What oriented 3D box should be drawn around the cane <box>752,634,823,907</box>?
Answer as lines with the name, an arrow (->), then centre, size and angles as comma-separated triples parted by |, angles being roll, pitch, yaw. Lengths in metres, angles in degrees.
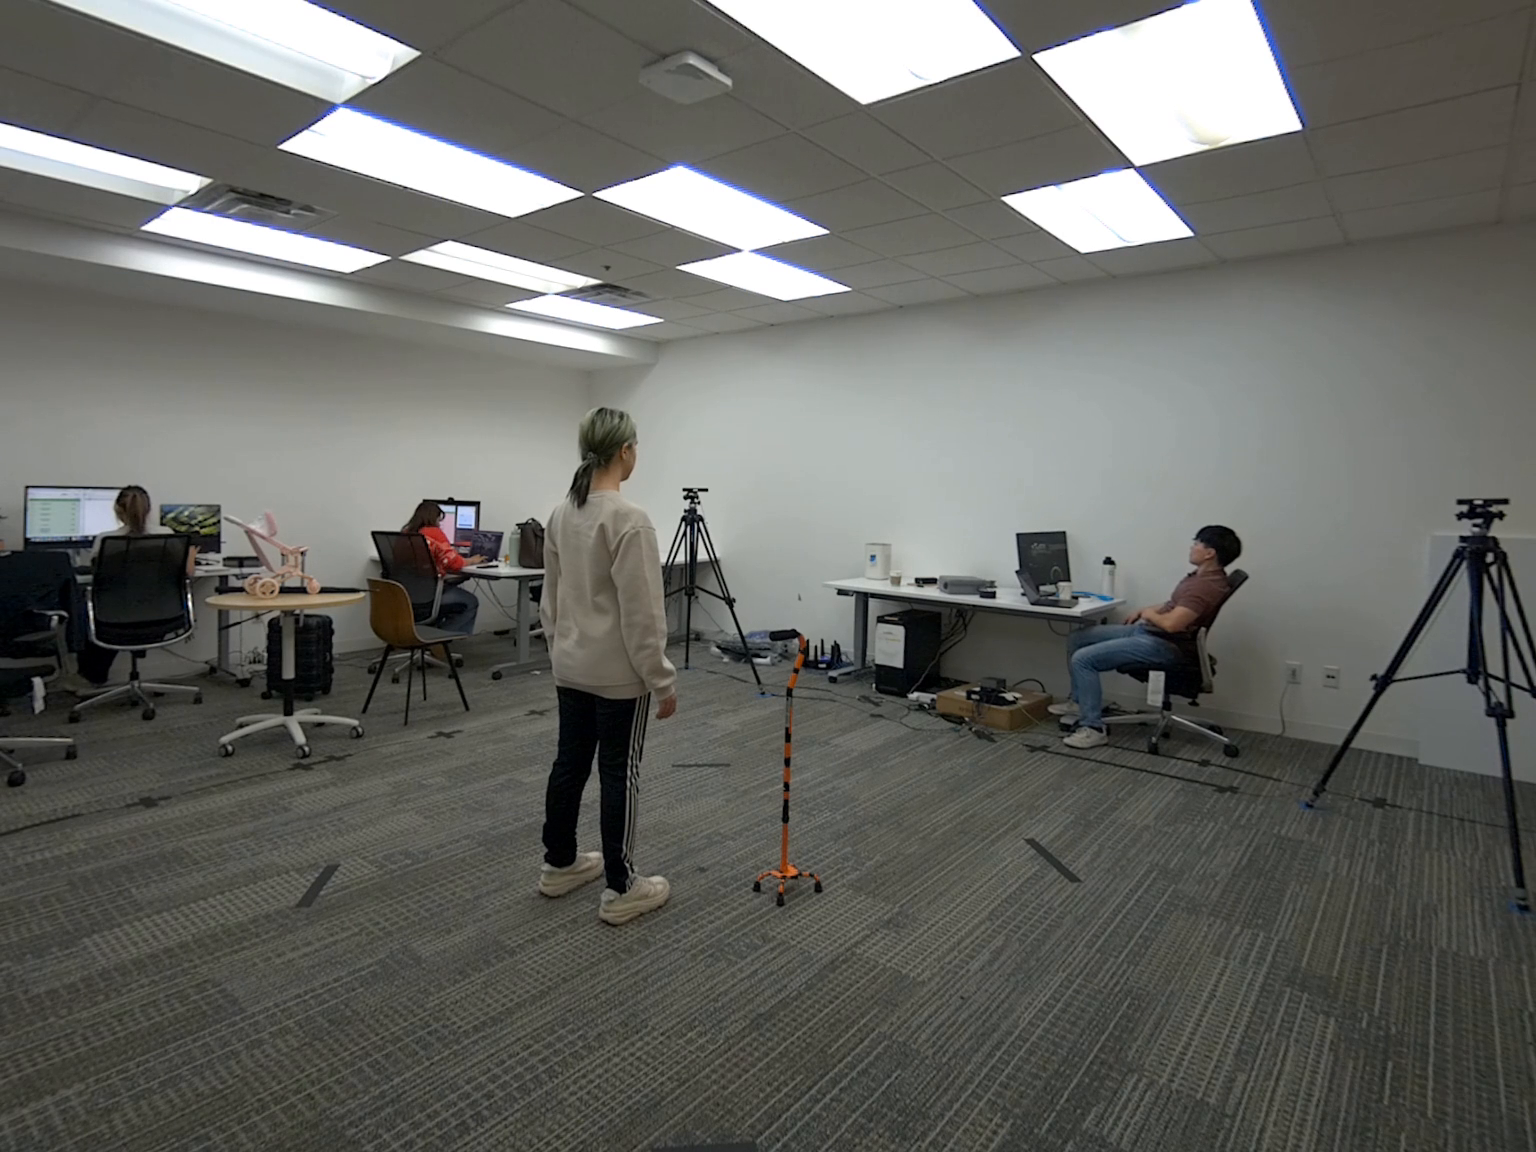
cane -> 0.072, 0.638, 2.934 | 0.200, 0.905, 0.157 | -1, 3, -39
